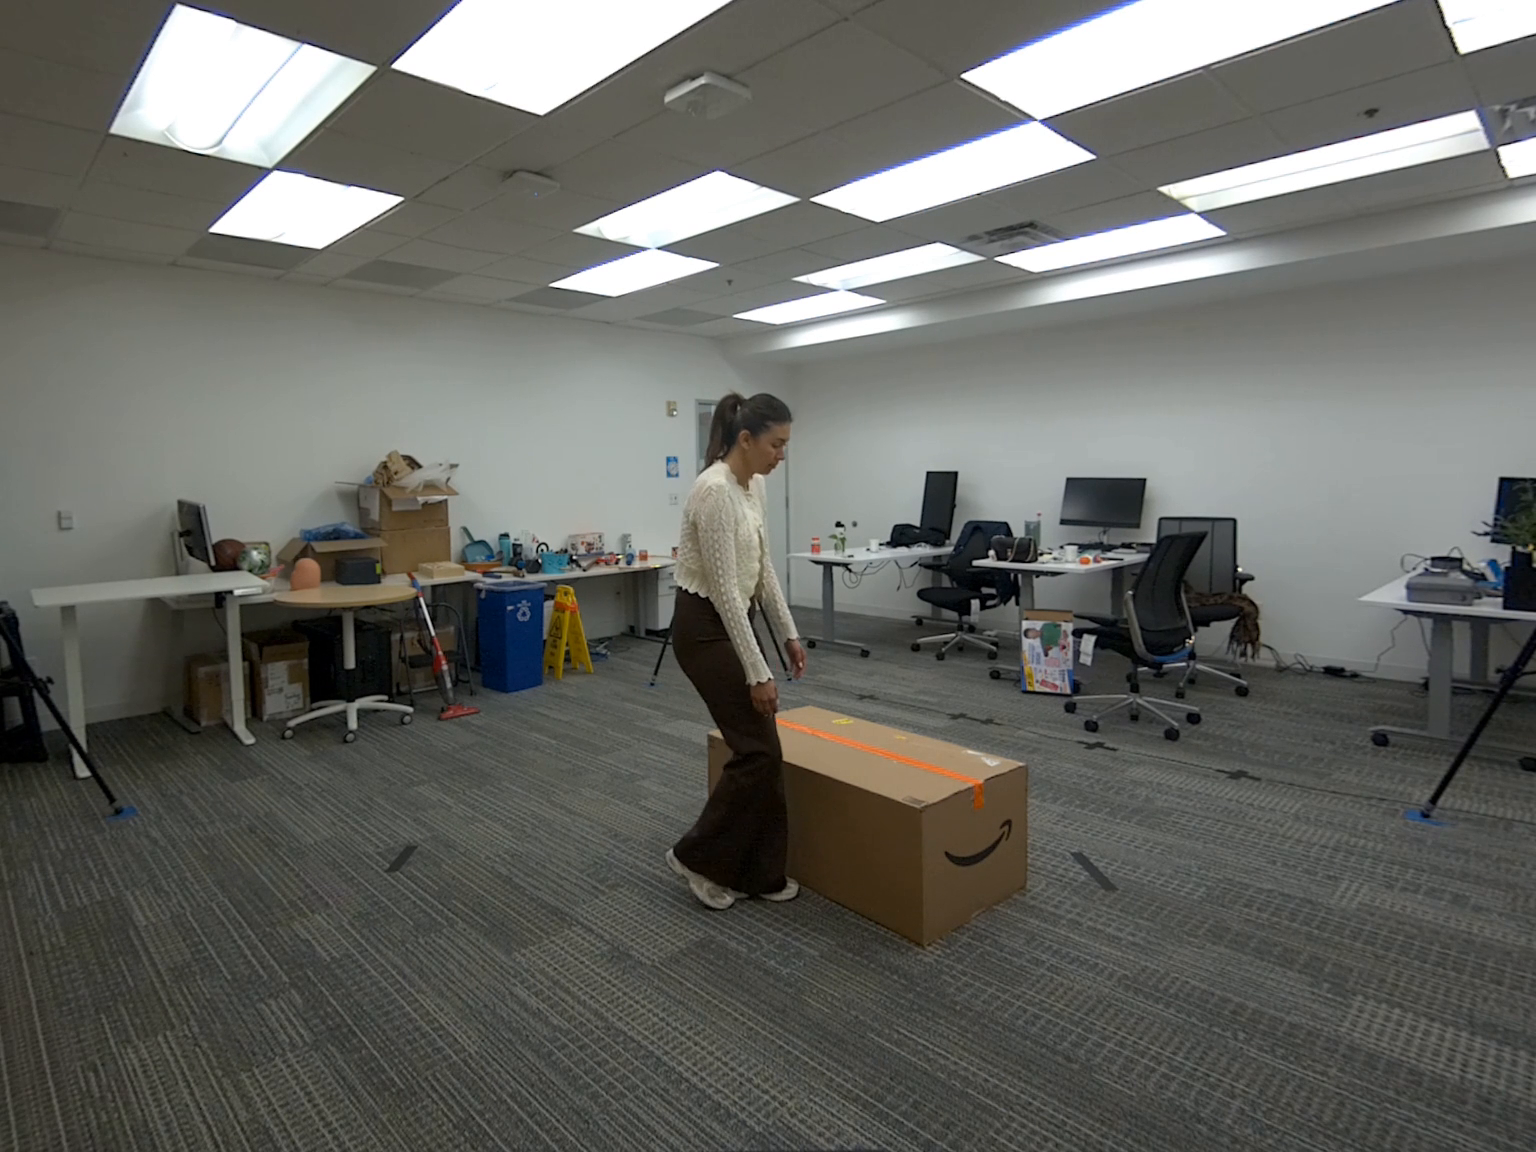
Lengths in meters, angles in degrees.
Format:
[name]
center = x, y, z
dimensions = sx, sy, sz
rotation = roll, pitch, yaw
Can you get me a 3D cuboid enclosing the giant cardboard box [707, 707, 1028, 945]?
[giant cardboard box]
center = 0.323, 0.824, 3.091
dimensions = 0.562, 0.424, 1.058
rotation = -5, 7, -41
